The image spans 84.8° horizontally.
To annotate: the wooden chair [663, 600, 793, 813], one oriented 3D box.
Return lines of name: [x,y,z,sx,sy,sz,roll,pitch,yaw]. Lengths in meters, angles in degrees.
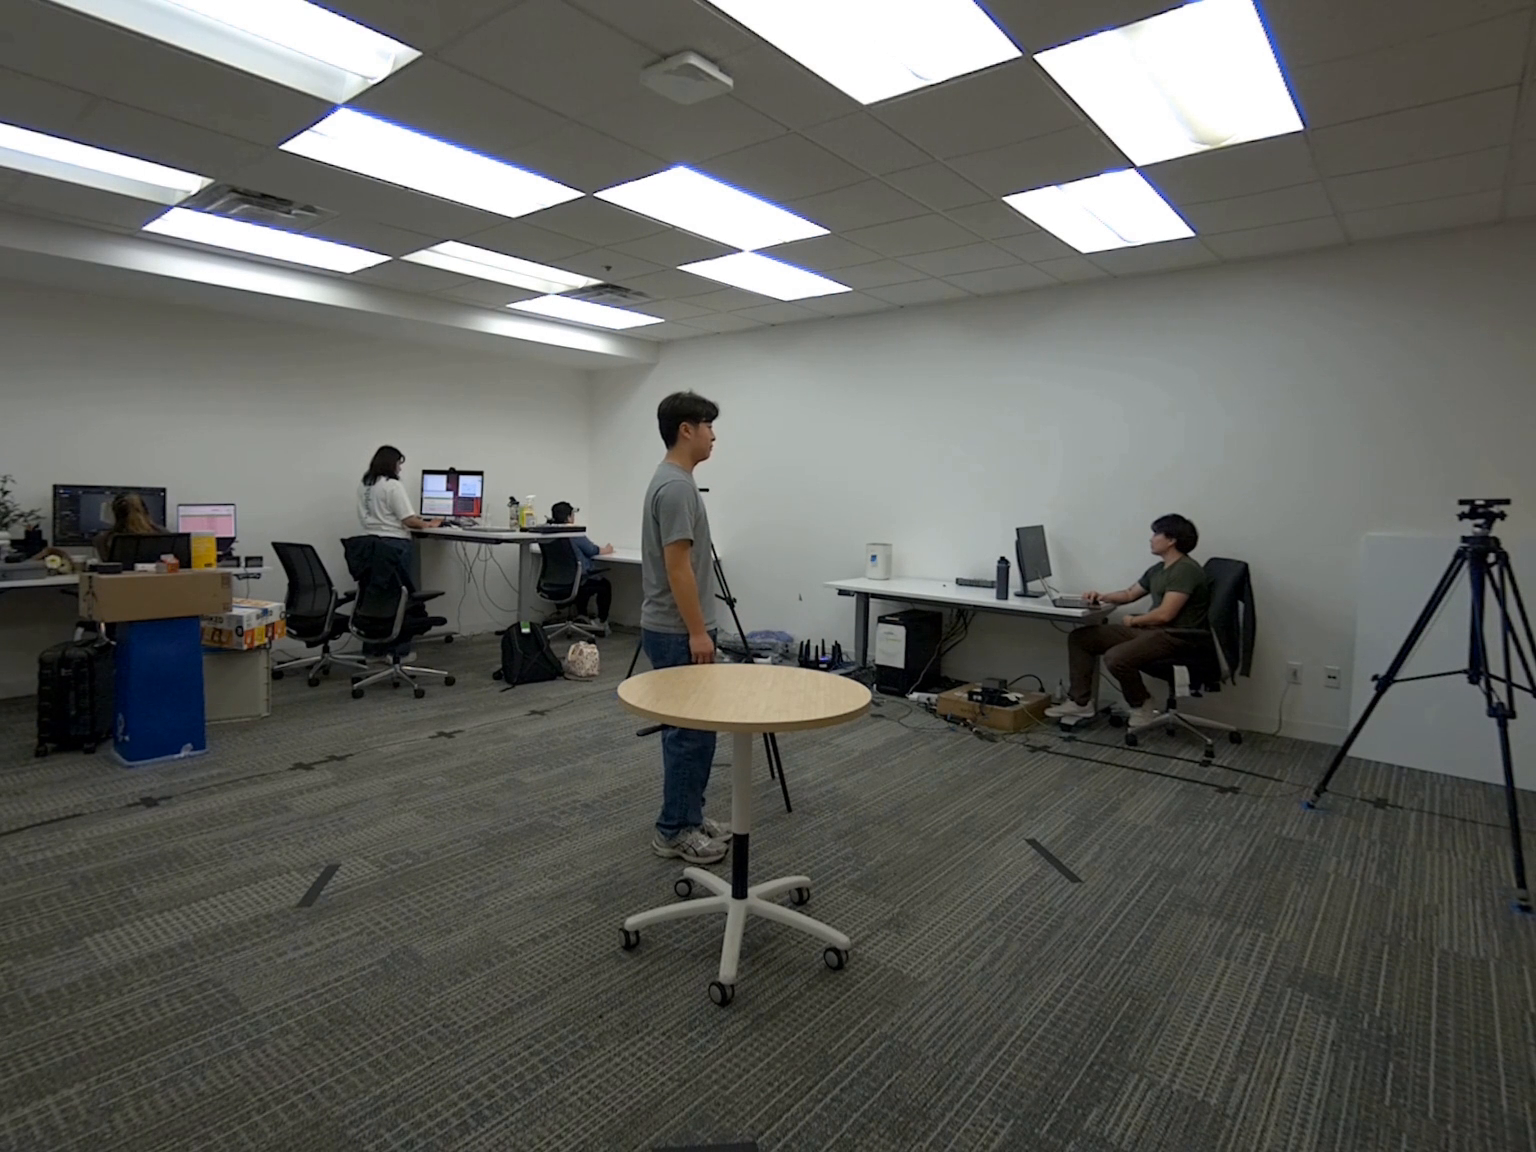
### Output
wooden chair: [-0.151,0.568,3.851,0.520,0.875,0.482,-3,3,-7]
